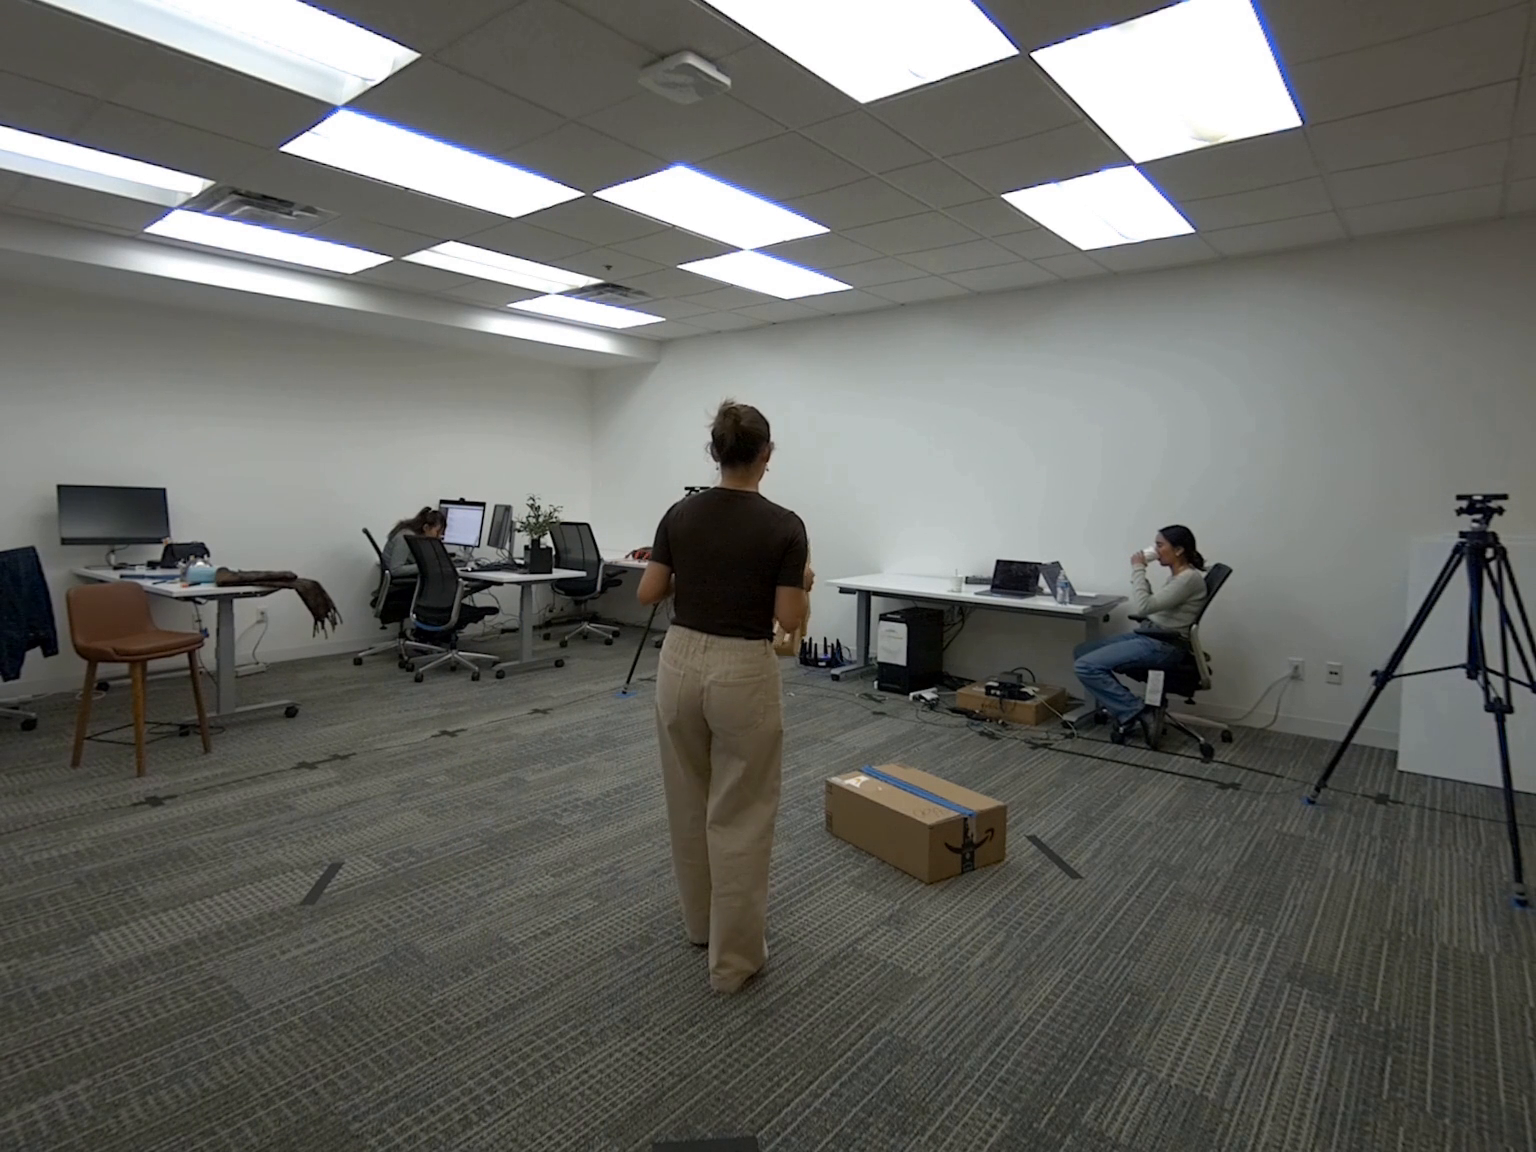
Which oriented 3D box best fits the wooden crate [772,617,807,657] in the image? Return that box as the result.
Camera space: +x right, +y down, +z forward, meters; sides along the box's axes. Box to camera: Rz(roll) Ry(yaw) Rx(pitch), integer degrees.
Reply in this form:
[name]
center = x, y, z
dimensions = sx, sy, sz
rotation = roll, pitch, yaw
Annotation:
[wooden crate]
center = -0.047, 0.047, 2.637
dimensions = 0.330, 0.266, 0.304
rotation = 3, 30, 16
